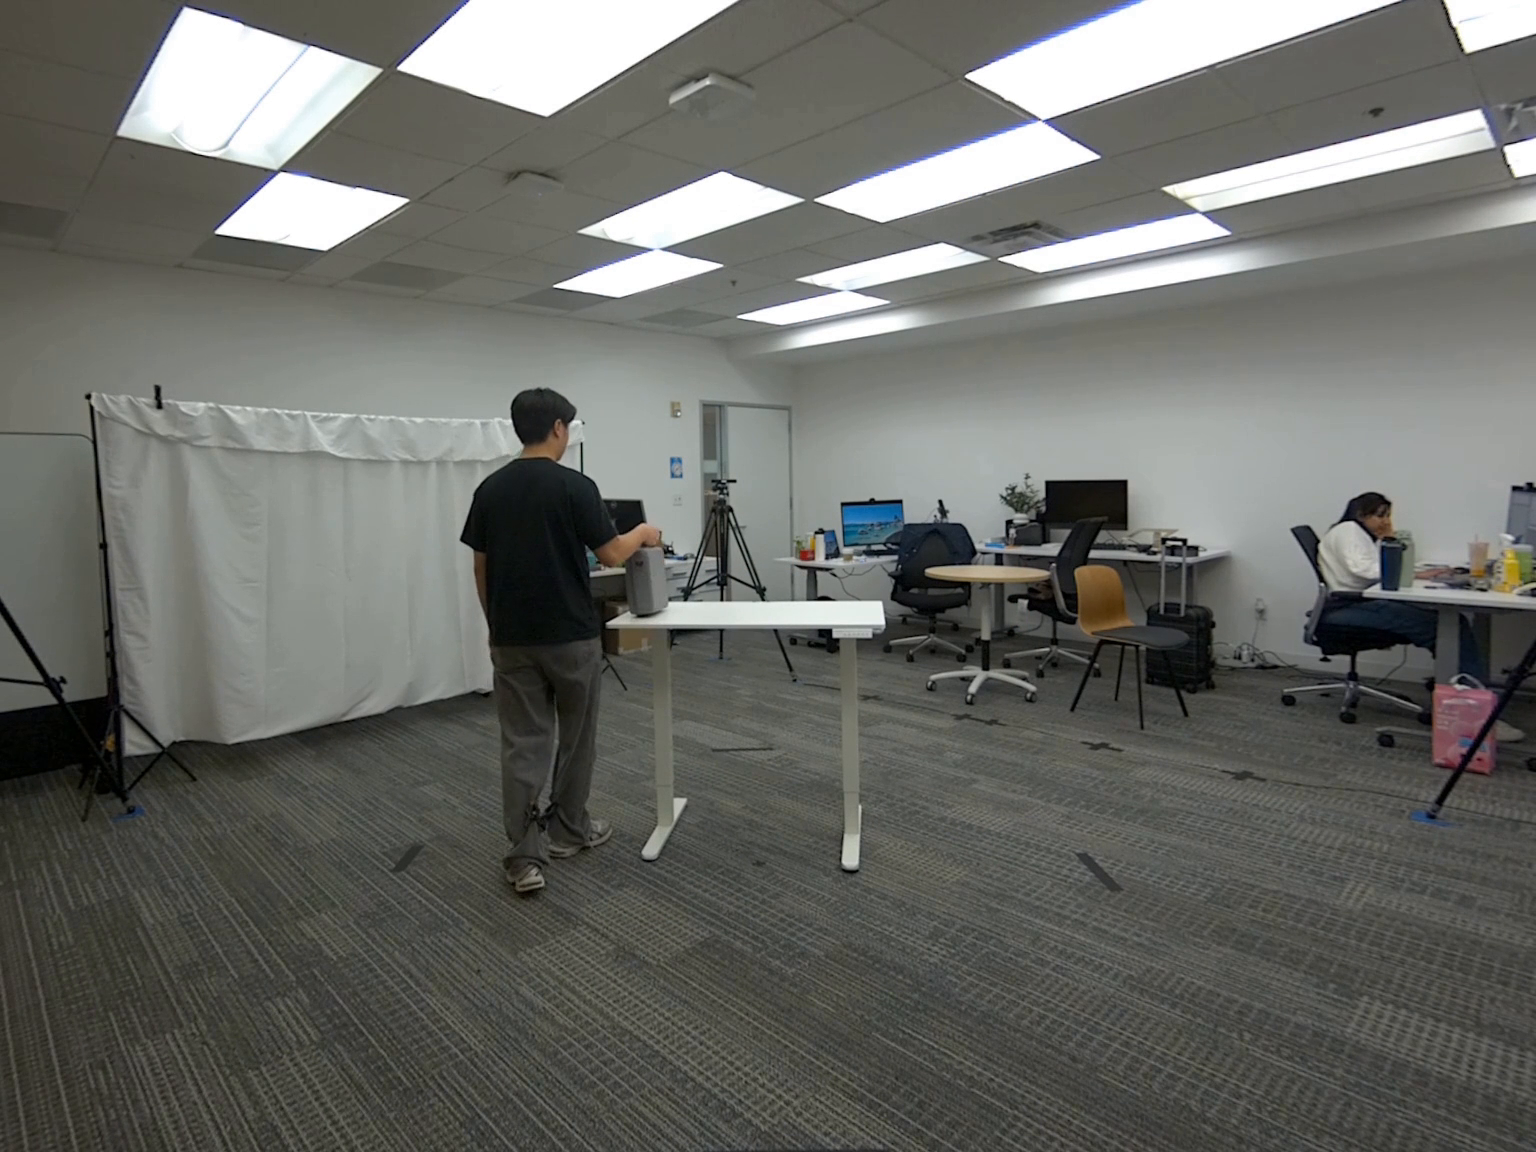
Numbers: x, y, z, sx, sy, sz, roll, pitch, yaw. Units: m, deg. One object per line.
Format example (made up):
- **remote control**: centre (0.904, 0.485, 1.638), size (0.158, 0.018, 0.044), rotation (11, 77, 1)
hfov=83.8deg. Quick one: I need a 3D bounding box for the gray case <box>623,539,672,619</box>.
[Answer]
- **gray case**: centre (-0.468, 0.003, 3.341), size (0.104, 0.287, 0.260), rotation (-1, 2, 12)
